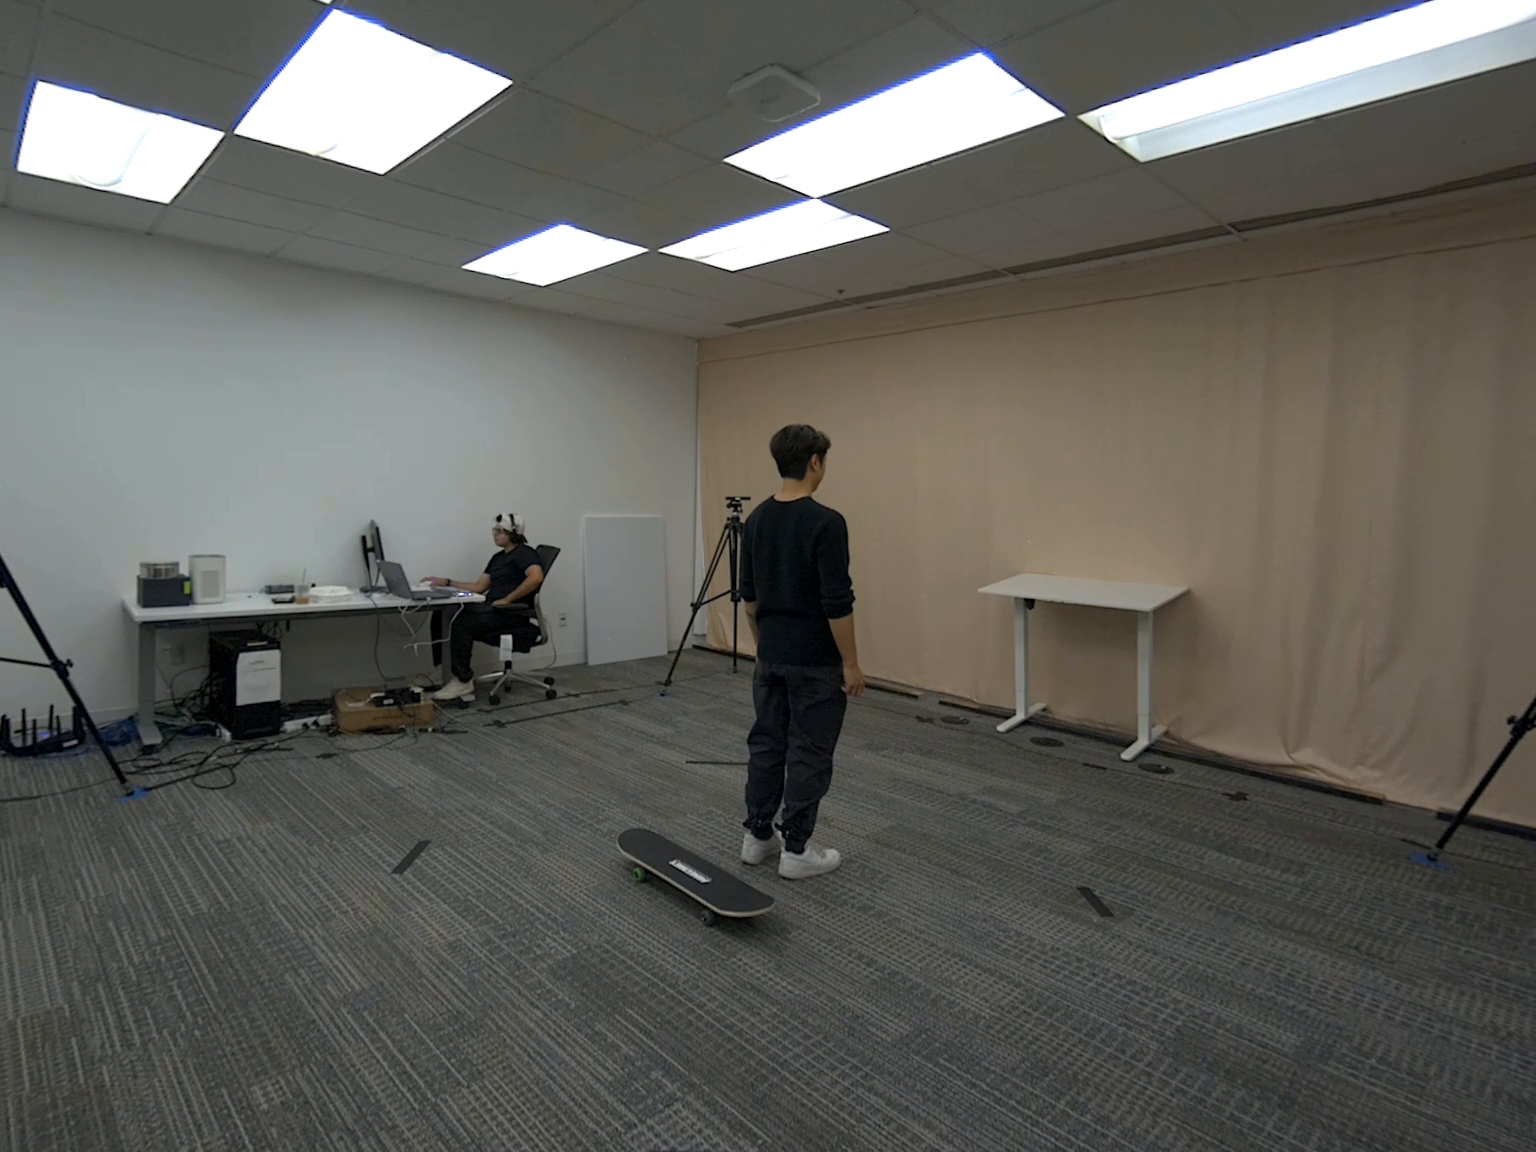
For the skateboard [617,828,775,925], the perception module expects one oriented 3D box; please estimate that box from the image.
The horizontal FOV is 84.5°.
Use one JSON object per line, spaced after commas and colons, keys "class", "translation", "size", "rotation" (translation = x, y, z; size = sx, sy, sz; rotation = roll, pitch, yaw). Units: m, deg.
{"class": "skateboard", "translation": [-0.284, 1.061, 2.946], "size": [0.189, 0.110, 0.806], "rotation": [-3, 7, -41]}
